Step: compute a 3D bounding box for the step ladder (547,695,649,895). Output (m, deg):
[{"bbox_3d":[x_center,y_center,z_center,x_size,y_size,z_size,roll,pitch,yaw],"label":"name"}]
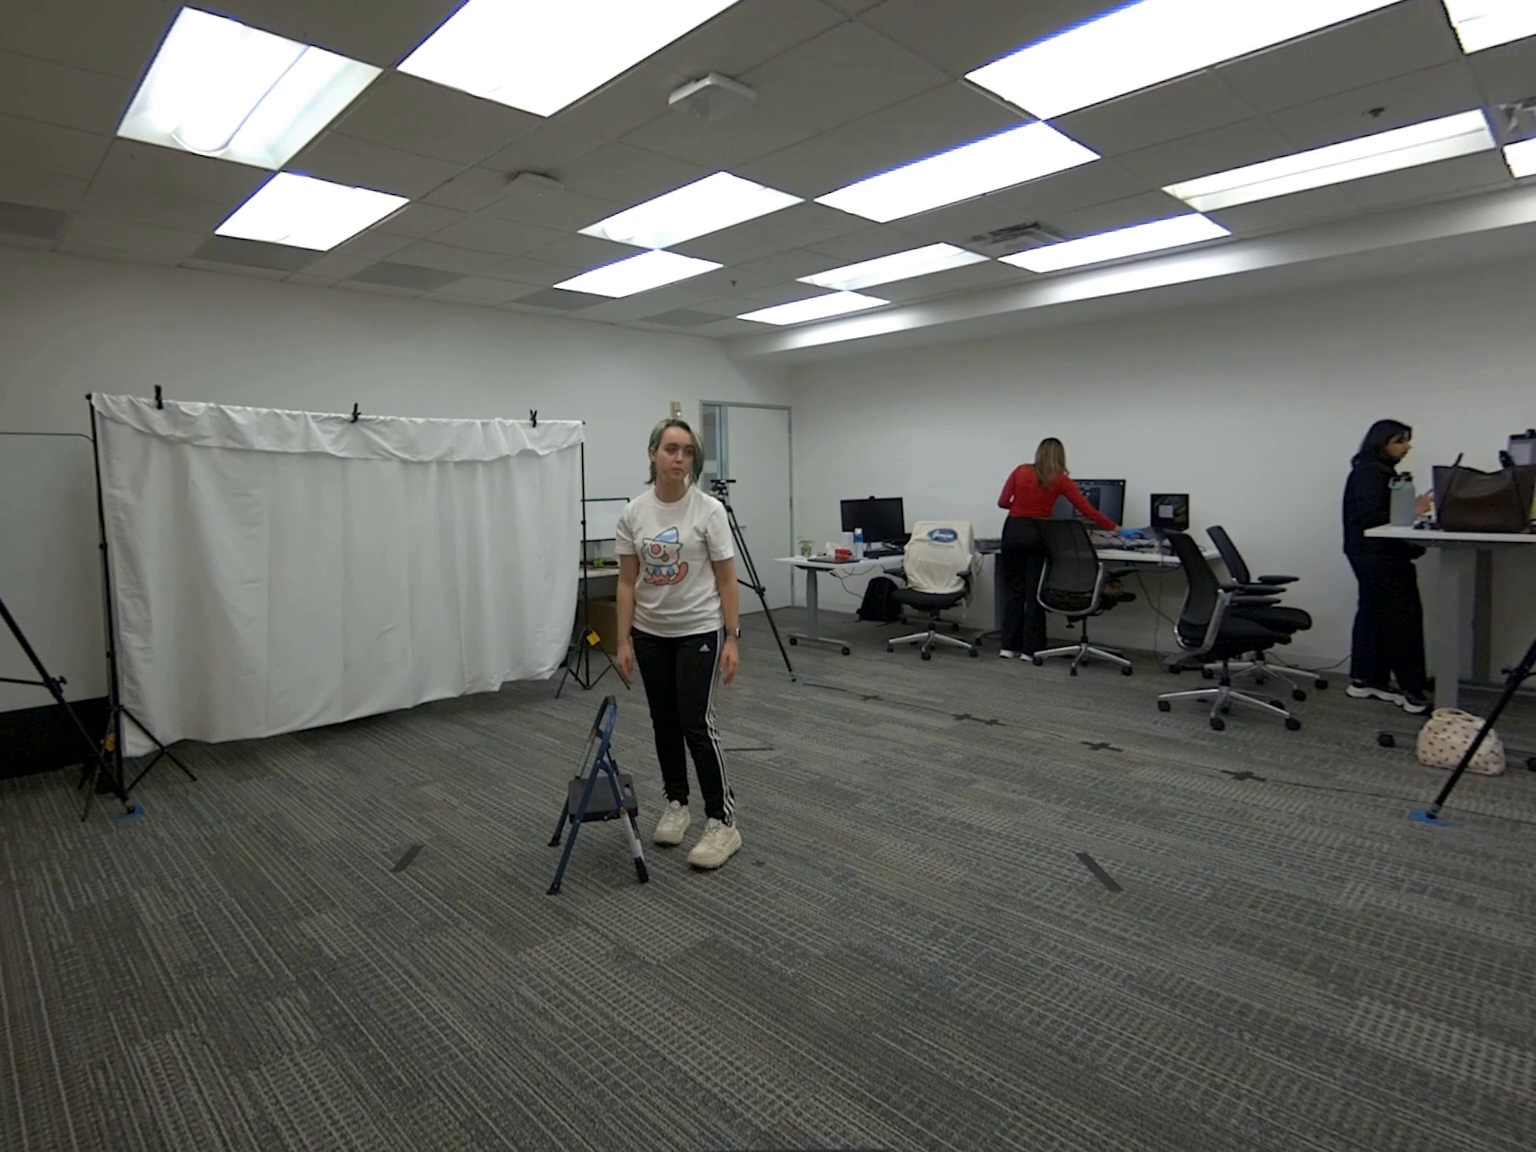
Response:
[{"bbox_3d":[-0.634,0.756,3.122,0.345,0.604,0.437,-2,5,-13],"label":"step ladder"}]
